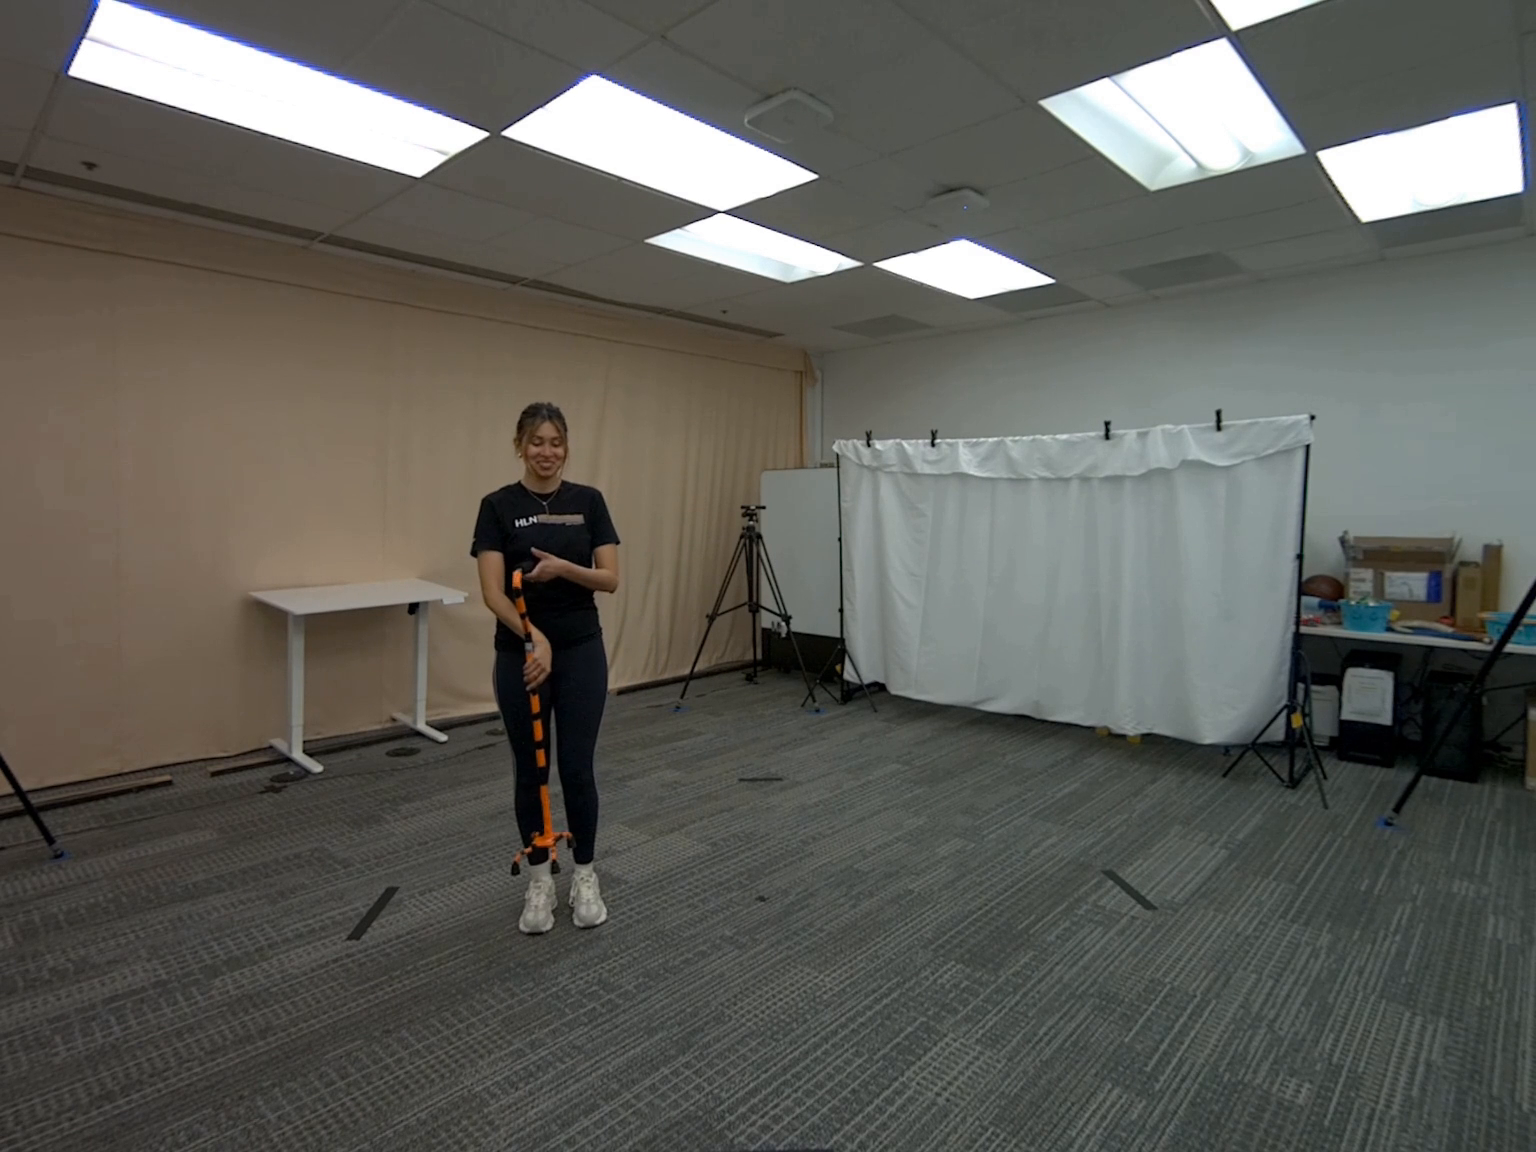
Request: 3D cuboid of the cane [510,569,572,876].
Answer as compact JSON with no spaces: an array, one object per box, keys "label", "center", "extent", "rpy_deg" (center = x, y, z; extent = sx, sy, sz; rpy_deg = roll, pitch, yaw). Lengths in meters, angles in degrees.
[{"label":"cane","center":[-0.697,0.417,2.552],"extent":[0.153,0.906,0.205],"rpy_deg":[-4,3,6]}]
